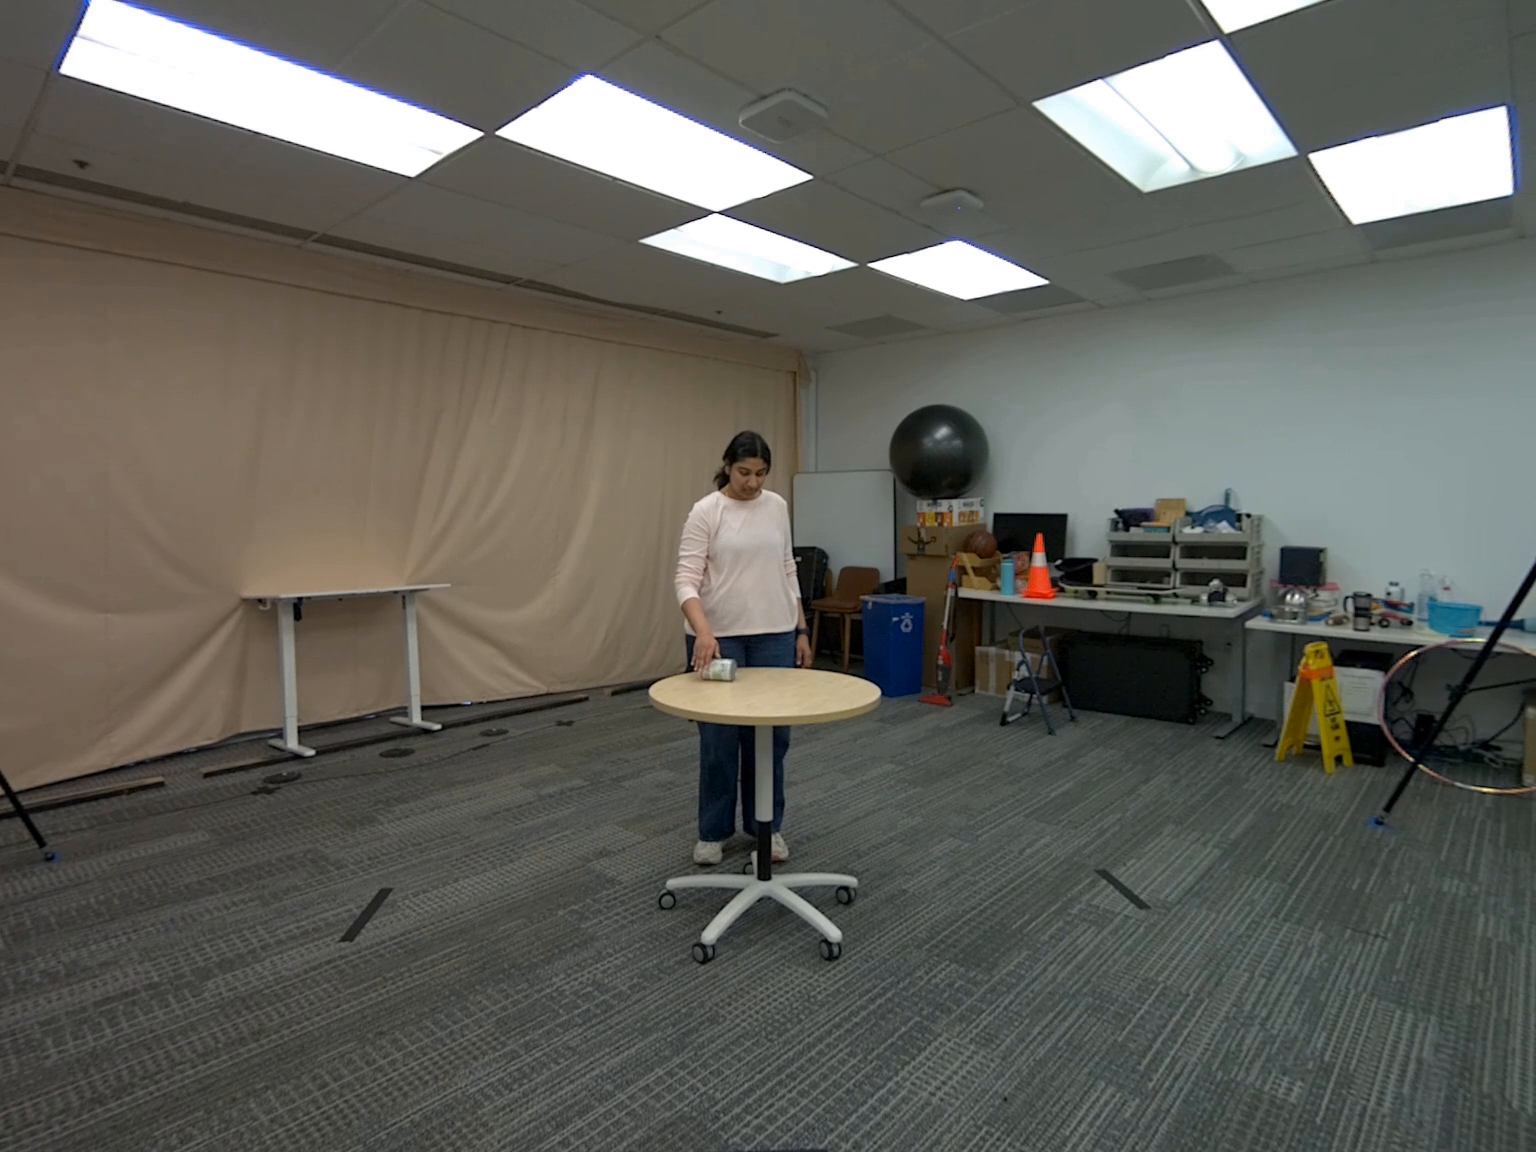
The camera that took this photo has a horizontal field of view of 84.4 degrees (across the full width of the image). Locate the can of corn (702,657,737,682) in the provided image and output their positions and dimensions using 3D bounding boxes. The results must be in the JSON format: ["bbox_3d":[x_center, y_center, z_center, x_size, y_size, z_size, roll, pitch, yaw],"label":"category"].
[{"bbox_3d":[-0.171,0.326,2.952,0.112,0.074,0.073,3,4,12],"label":"can of corn"}]
